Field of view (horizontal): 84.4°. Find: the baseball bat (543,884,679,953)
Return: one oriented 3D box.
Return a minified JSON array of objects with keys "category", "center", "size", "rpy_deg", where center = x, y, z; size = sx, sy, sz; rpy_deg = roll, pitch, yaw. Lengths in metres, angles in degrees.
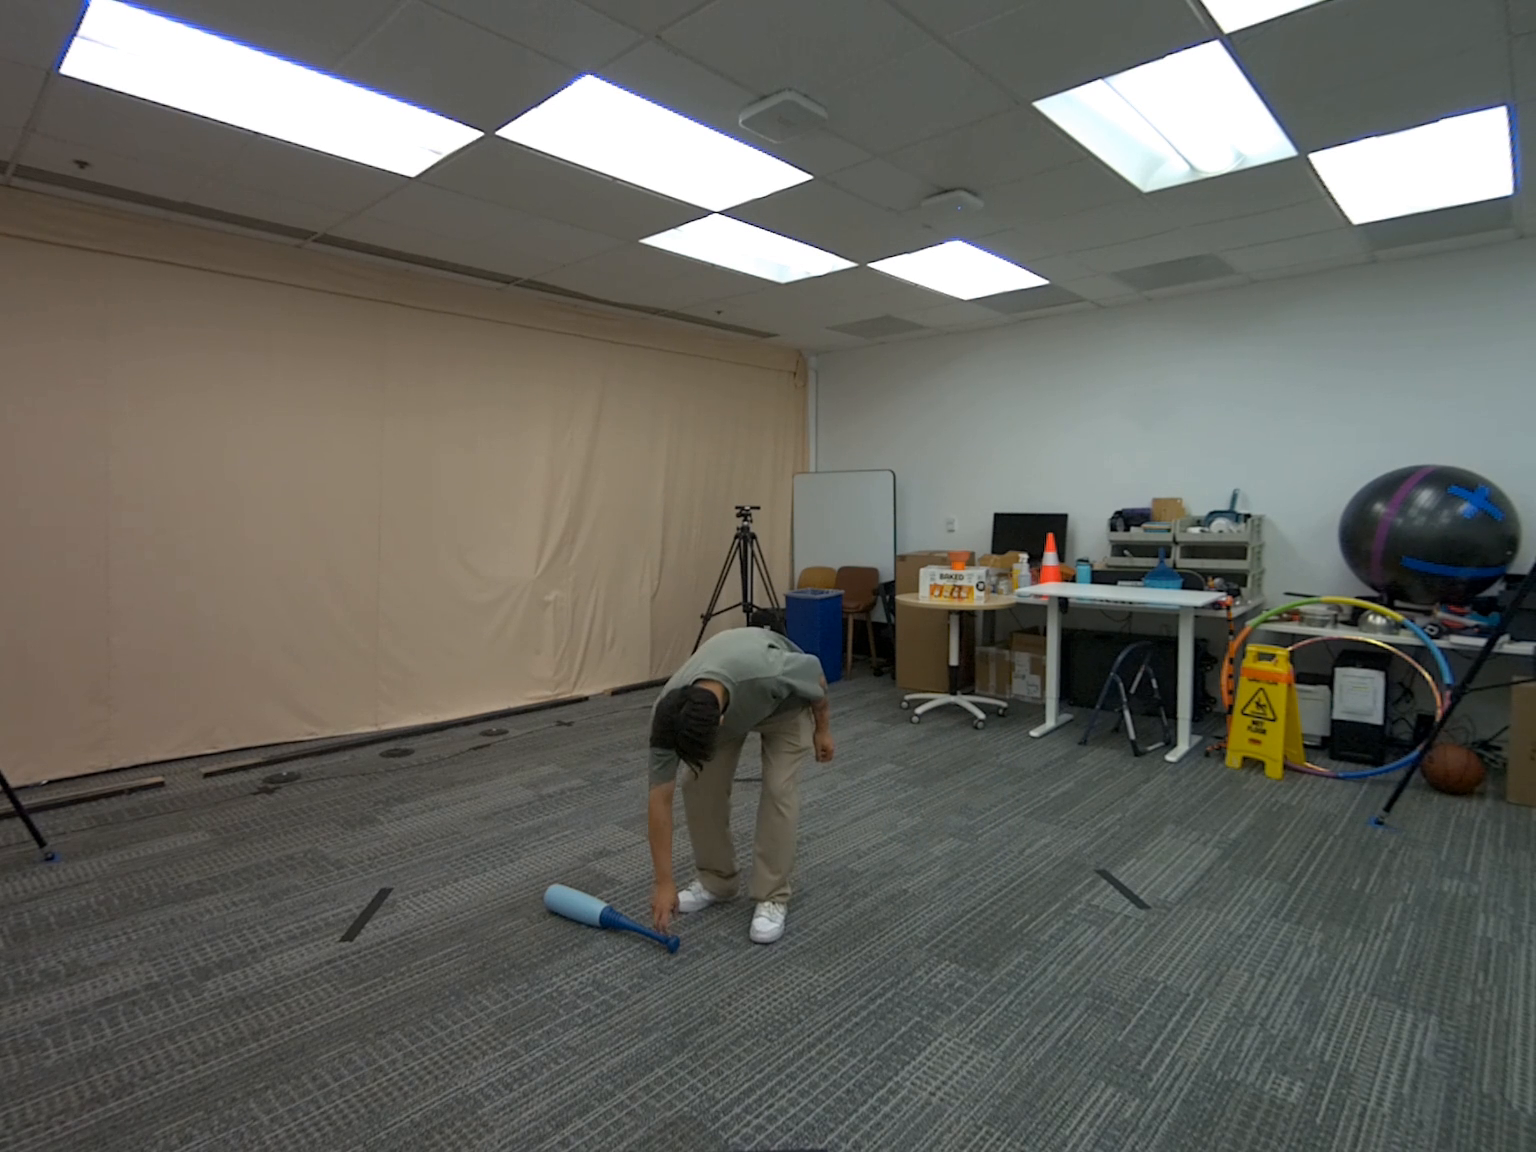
[{"category":"baseball bat","center":[-0.521,1.133,2.772],"size":[0.560,0.089,0.086],"rpy_deg":[5,6,33]}]
